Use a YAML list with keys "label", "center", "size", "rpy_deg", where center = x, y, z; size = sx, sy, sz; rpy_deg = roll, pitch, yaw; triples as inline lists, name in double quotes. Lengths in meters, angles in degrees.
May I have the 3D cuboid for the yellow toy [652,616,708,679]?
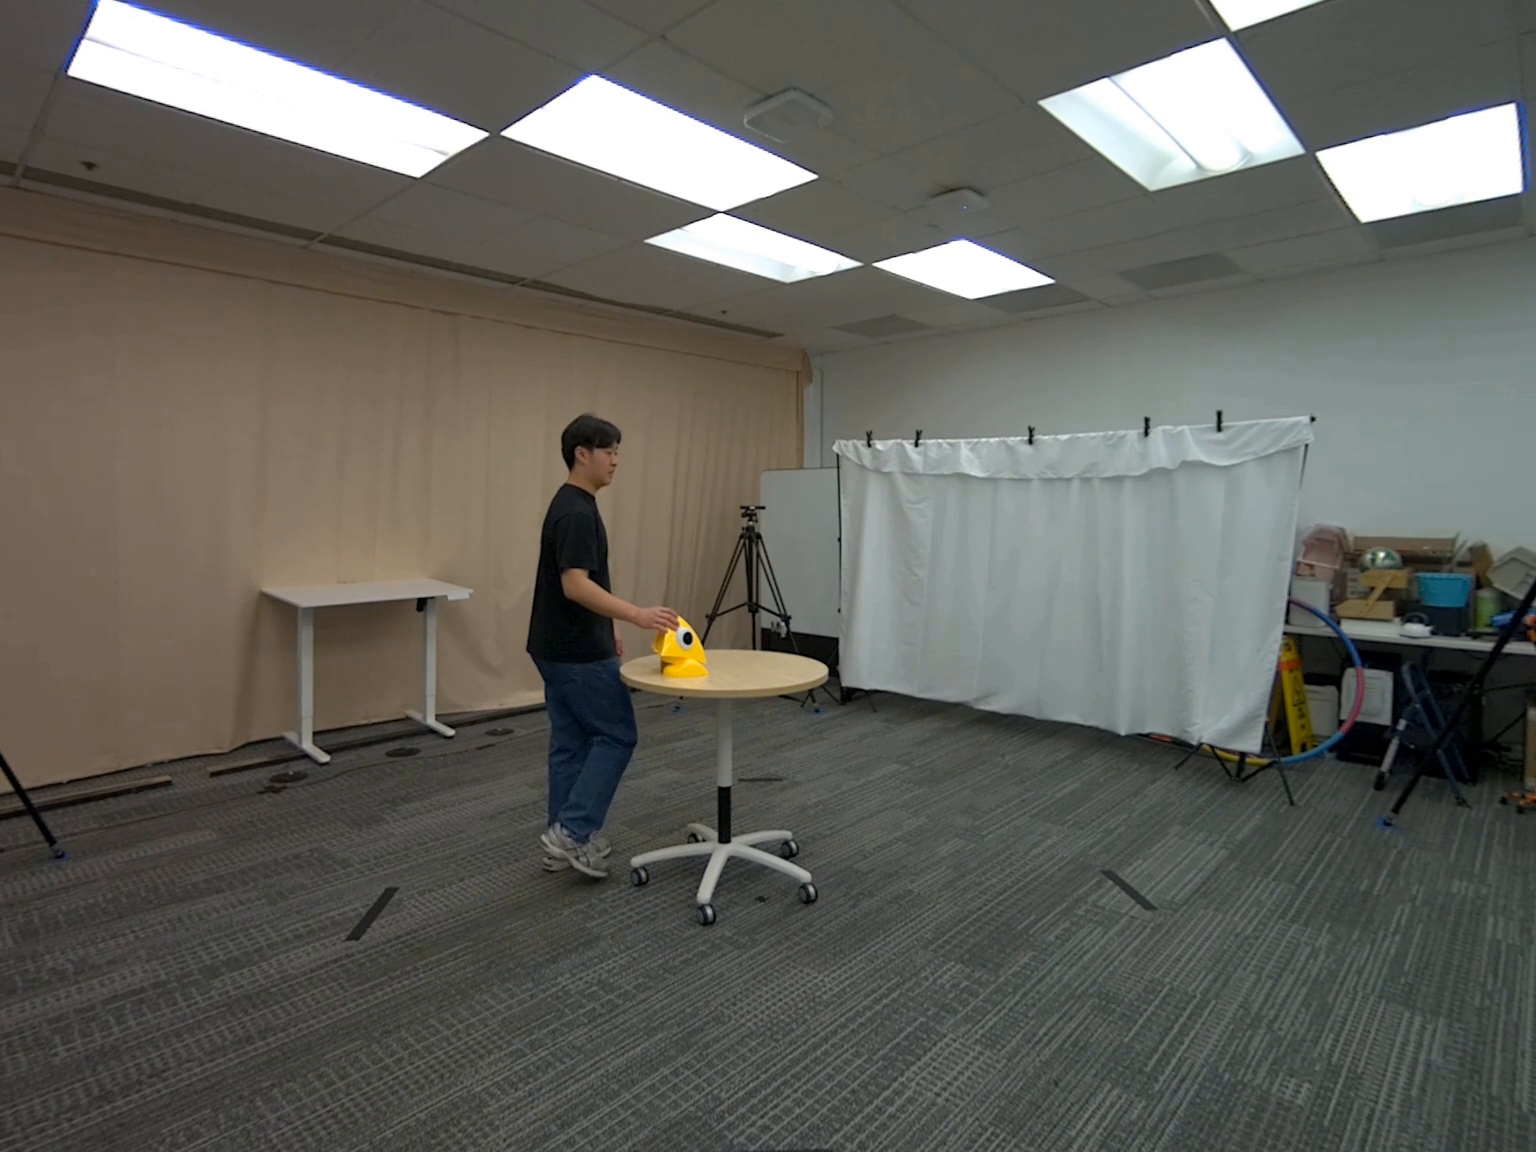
- label: "yellow toy"
  center: [-0.308, 0.229, 3.028]
  size: [0.190, 0.230, 0.209]
  rpy_deg: [-3, 4, -18]
